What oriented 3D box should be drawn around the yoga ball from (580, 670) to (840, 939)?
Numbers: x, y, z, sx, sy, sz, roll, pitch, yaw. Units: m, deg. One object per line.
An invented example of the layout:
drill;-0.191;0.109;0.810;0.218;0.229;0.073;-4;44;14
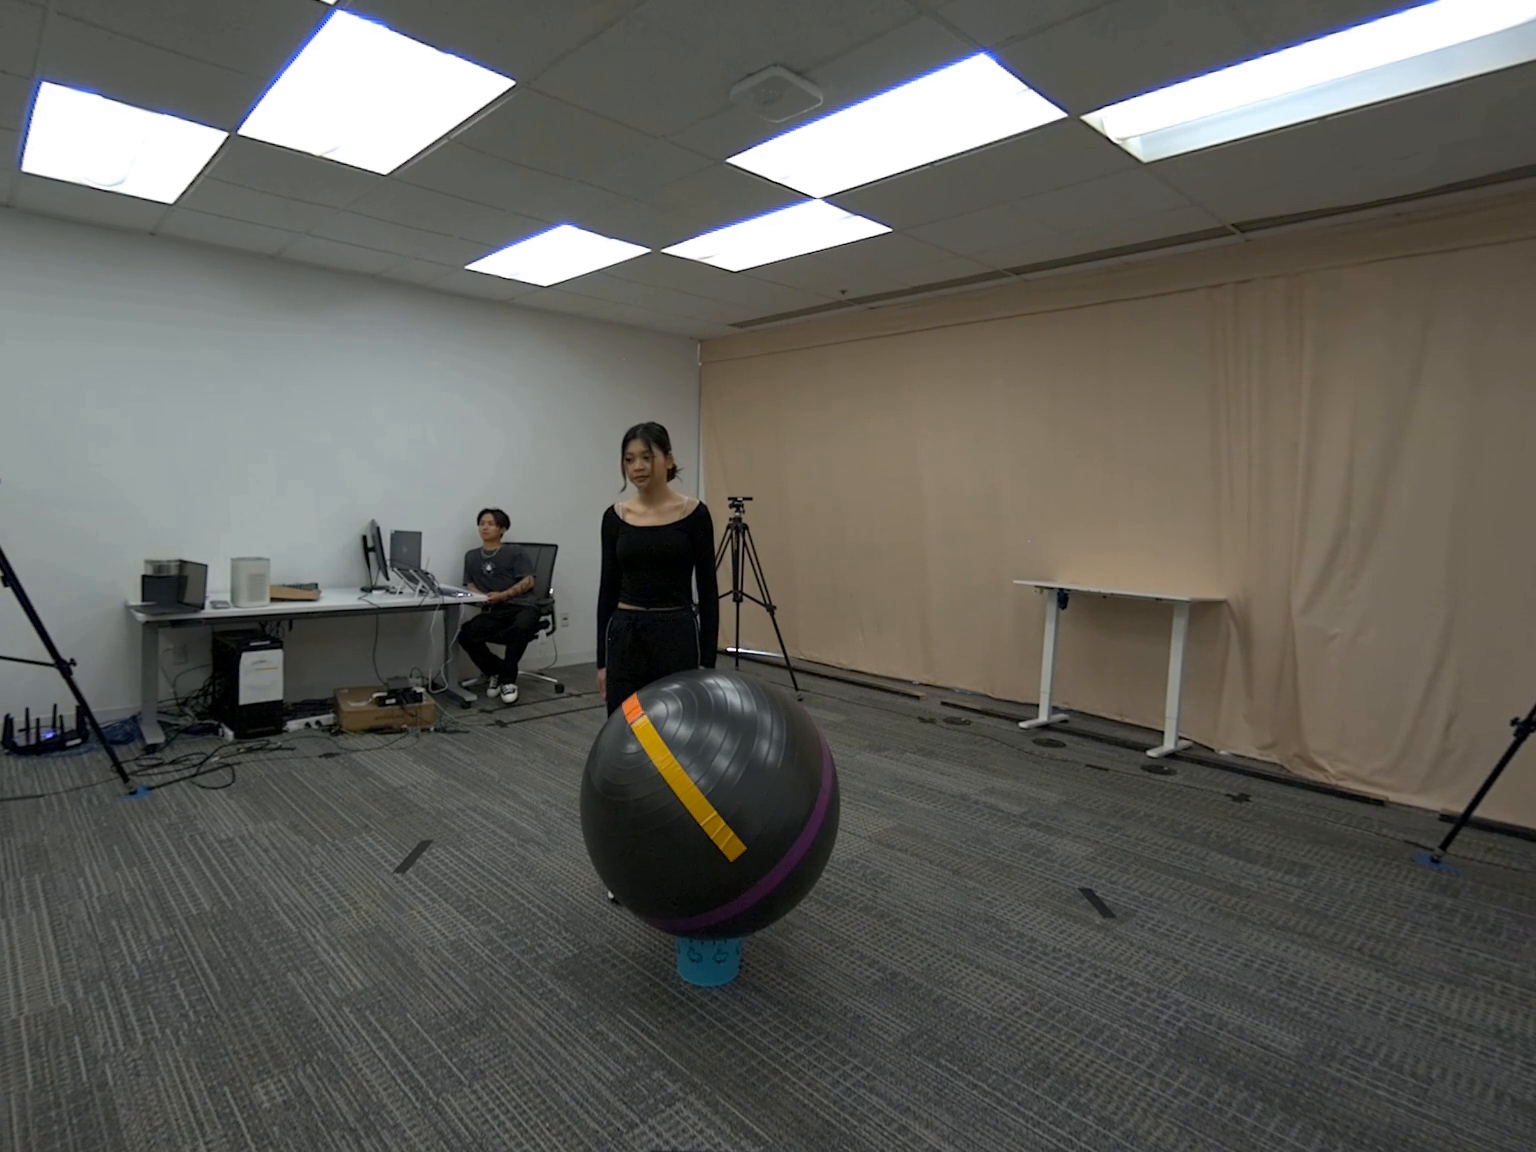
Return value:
yoga ball;-0.168;0.660;2.456;0.757;0.756;0.761;1;4;-1
